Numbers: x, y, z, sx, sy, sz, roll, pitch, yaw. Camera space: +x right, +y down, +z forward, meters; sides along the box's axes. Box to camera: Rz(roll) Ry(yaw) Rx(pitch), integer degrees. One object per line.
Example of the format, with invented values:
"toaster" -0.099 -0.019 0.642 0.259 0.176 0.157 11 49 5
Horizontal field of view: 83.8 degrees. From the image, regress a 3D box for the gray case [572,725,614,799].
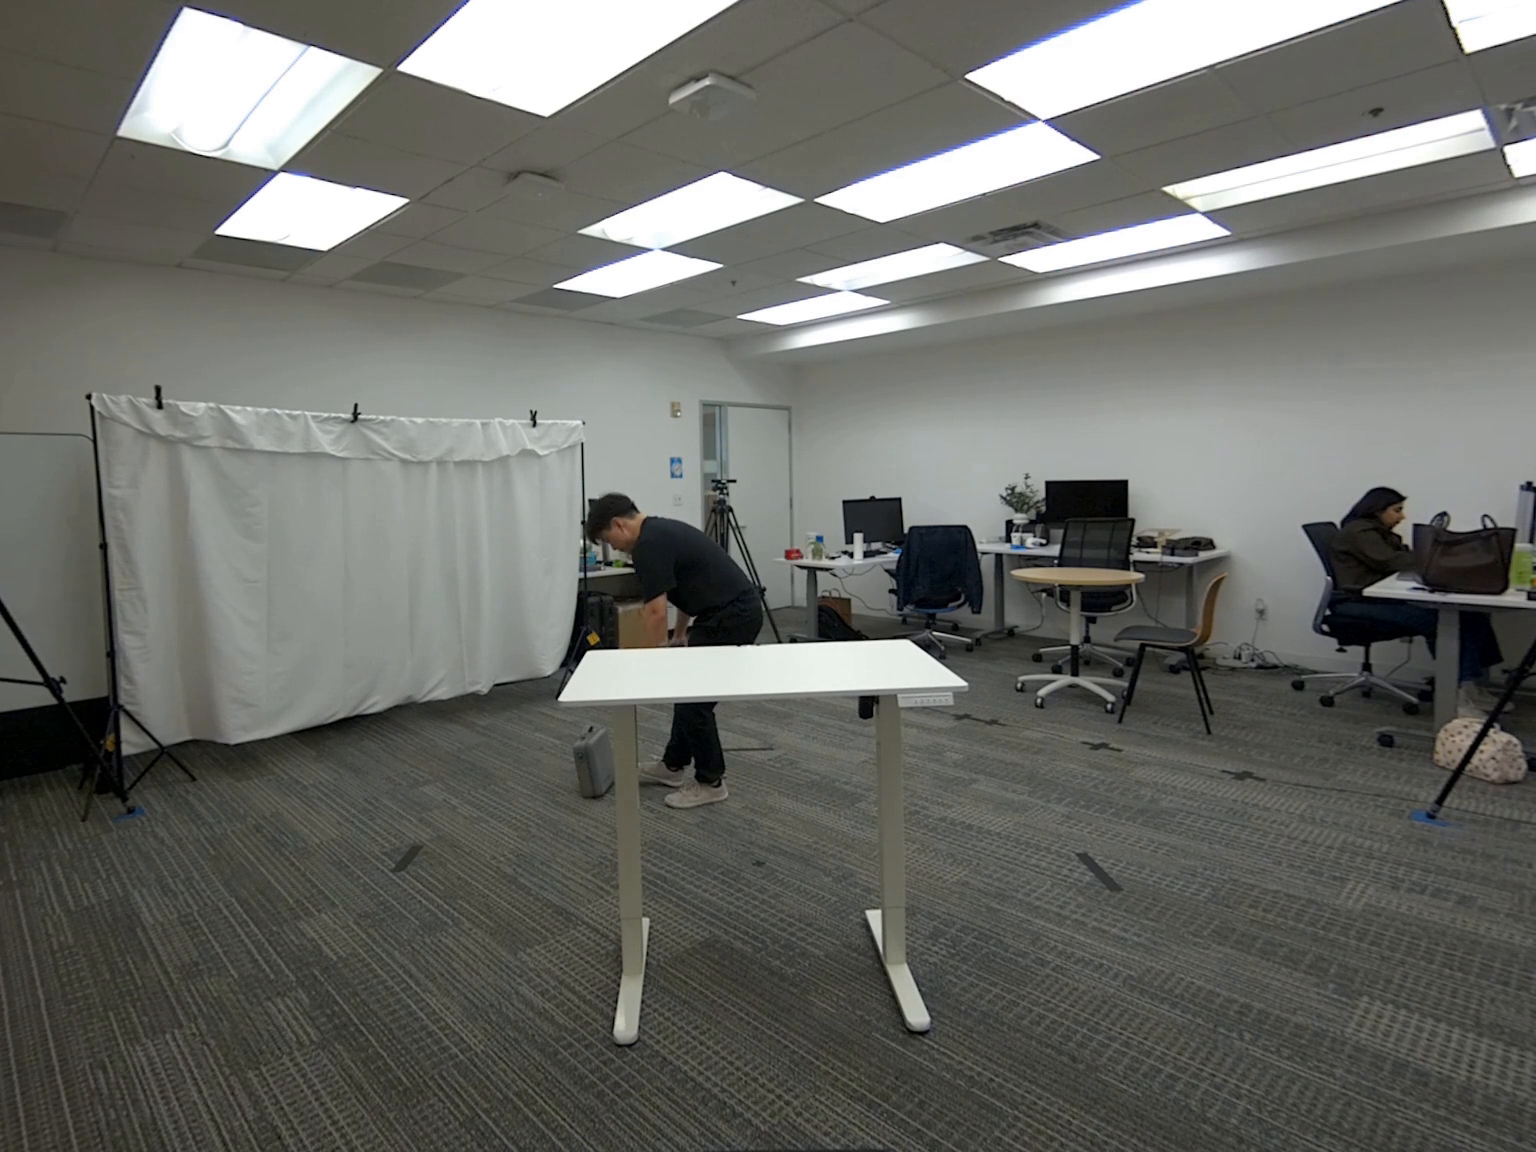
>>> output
"gray case" -0.791 0.842 3.899 0.105 0.260 0.255 -9 2 8
